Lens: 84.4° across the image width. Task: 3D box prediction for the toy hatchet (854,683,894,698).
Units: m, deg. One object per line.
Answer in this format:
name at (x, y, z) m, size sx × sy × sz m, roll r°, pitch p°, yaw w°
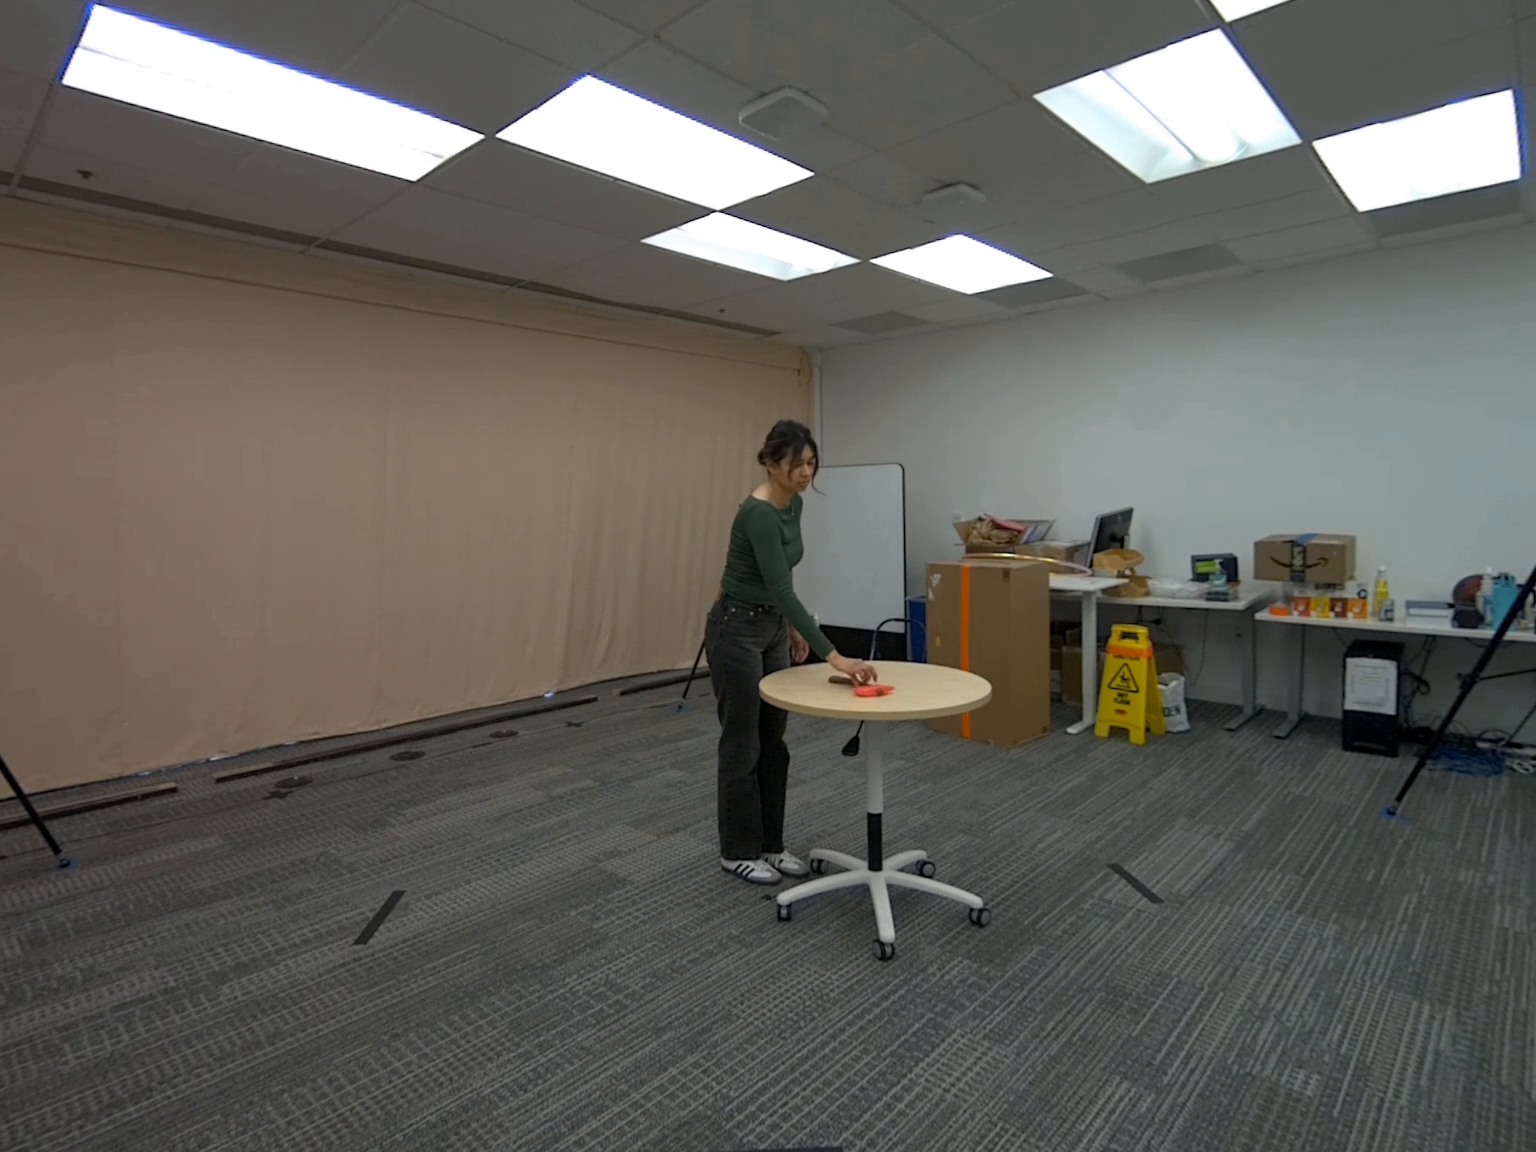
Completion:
toy hatchet at (0.276, 0.362, 2.752) m, size 0.127 × 0.029 × 0.279 m, roll -9°, pitch 8°, yaw -38°
